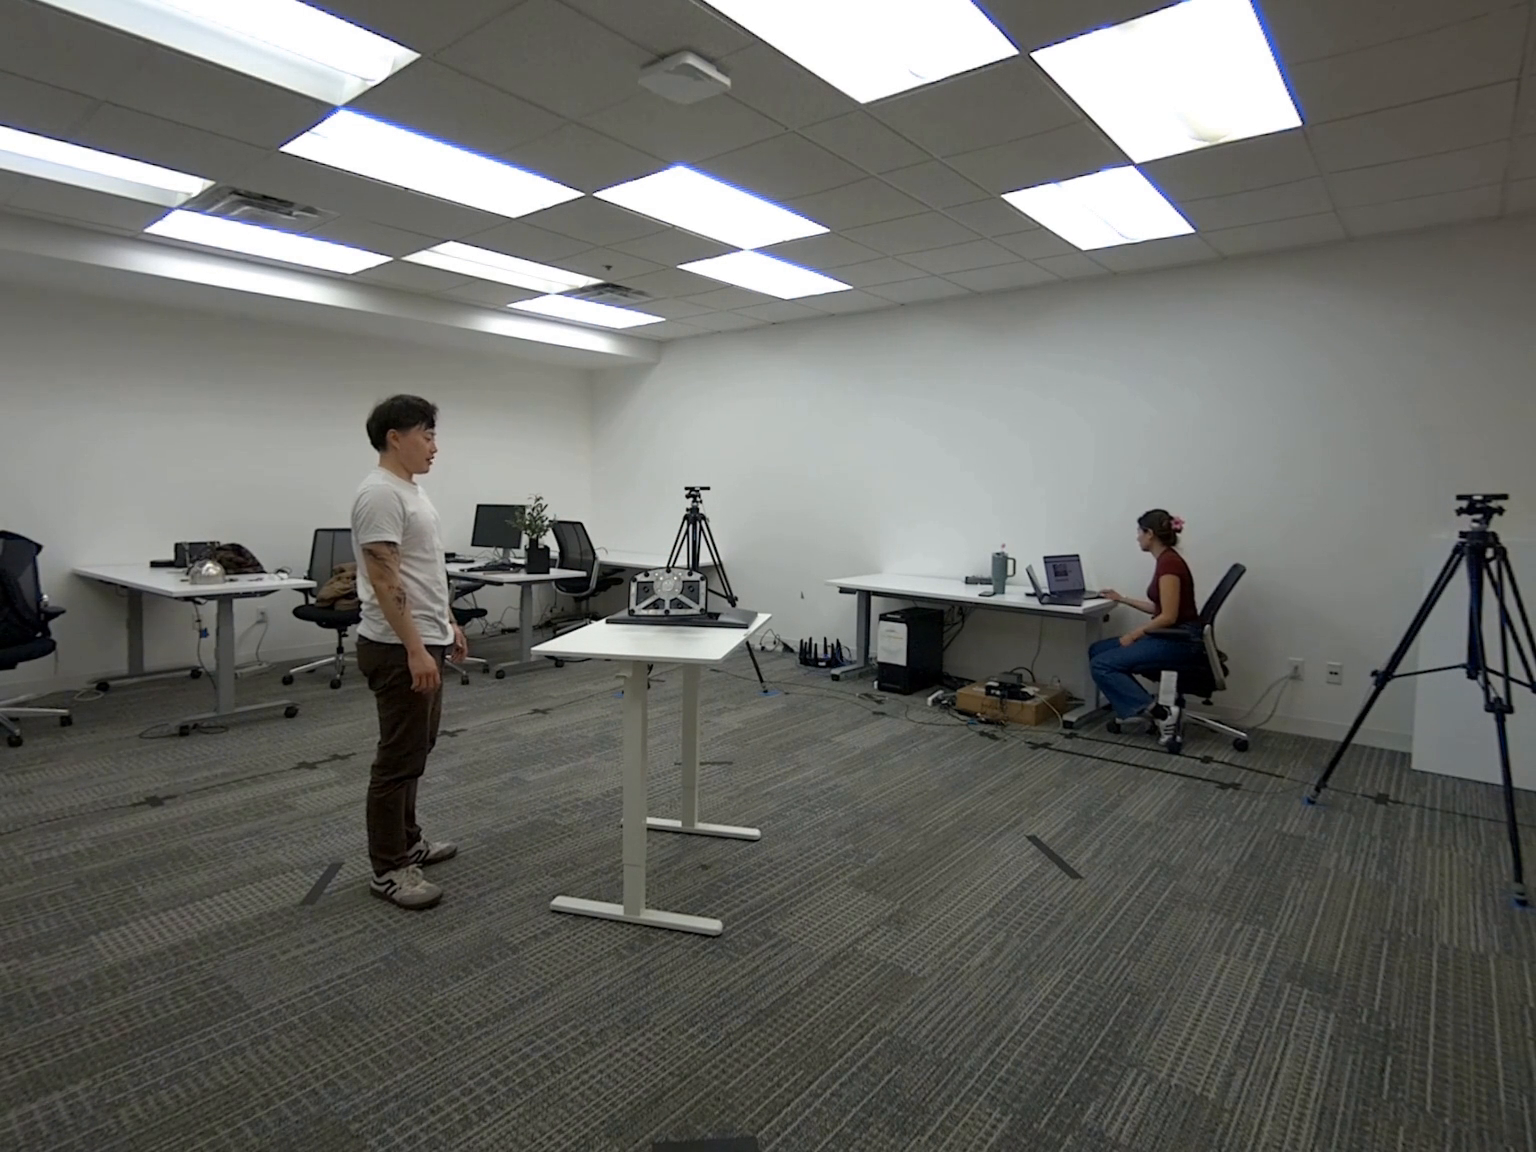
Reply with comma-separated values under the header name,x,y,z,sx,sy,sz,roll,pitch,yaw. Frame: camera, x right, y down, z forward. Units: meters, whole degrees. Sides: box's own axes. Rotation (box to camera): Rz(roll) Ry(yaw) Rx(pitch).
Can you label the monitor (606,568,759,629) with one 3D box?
name,x,y,z,sx,sy,sz,roll,pitch,yaw
monitor,-0.344,0.112,3.206,0.545,0.189,0.511,3,-13,8
